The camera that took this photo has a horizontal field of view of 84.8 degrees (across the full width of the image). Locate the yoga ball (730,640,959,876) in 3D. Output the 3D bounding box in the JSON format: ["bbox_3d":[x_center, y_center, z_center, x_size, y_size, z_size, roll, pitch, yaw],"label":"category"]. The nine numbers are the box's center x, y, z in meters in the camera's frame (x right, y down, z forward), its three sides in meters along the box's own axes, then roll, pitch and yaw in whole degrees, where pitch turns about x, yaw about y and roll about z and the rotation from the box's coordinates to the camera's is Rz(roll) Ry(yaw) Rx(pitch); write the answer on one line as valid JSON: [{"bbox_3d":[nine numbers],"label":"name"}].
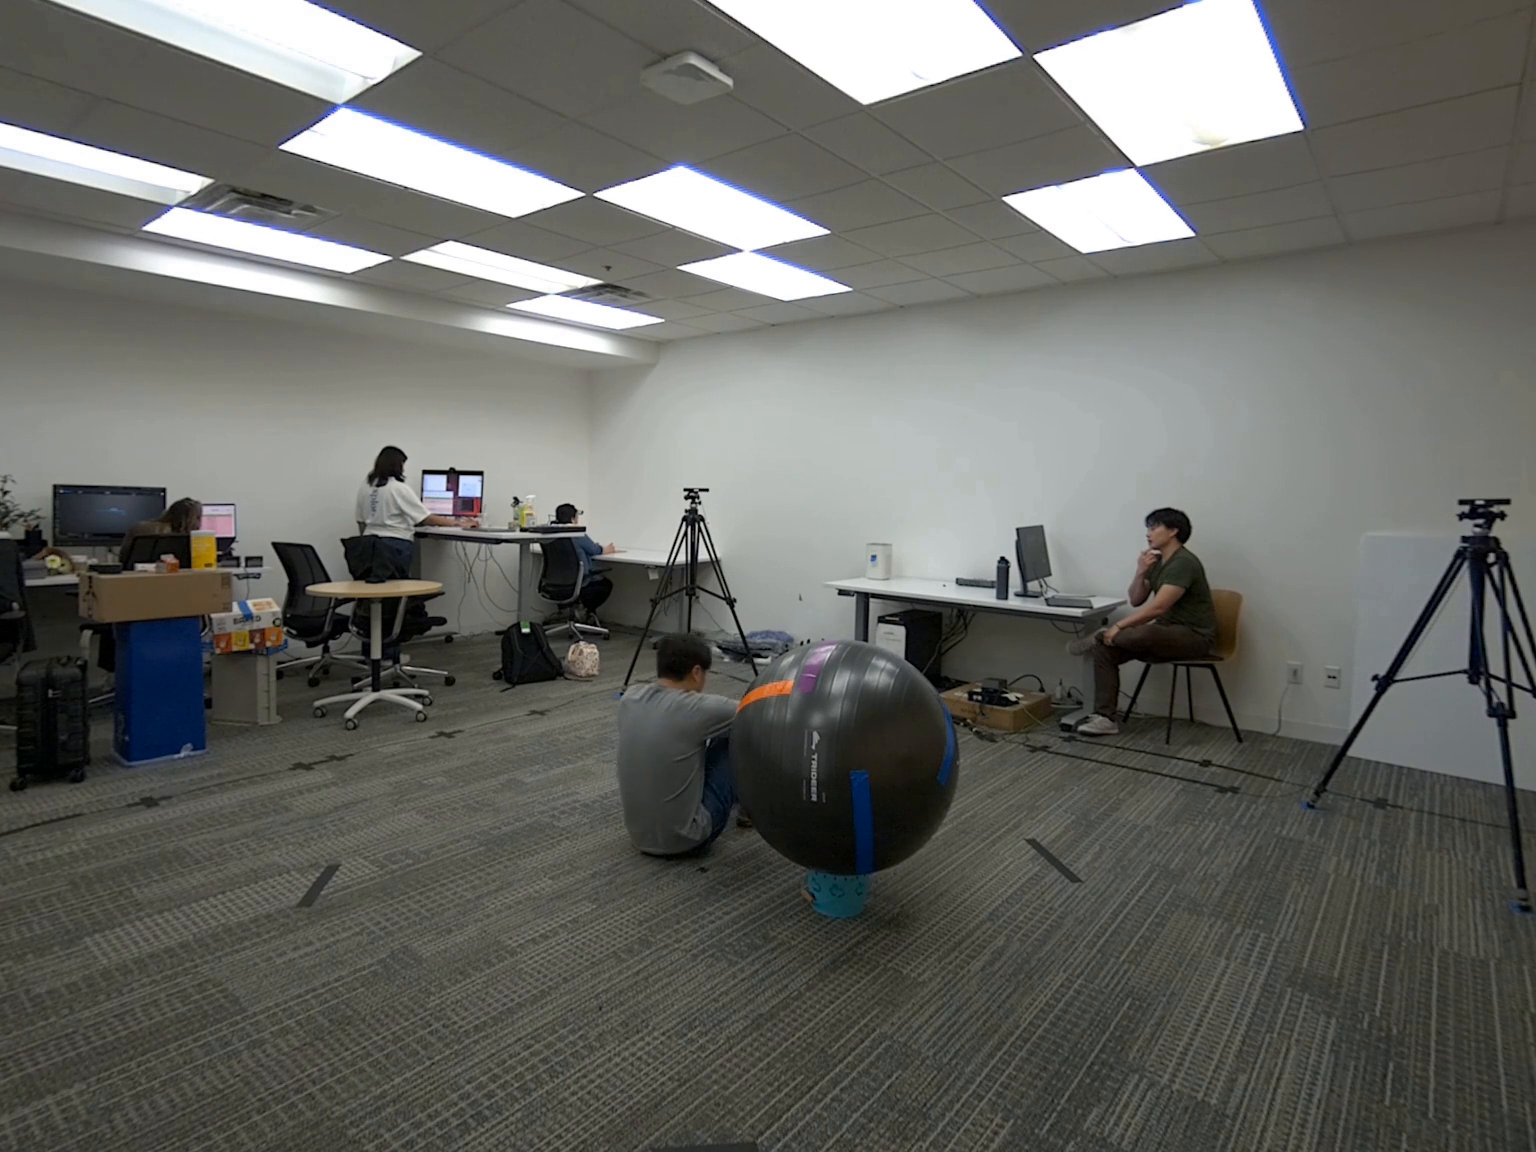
[{"bbox_3d":[0.236,0.594,2.838,0.757,0.756,0.762,1,4,-2],"label":"yoga ball"}]
